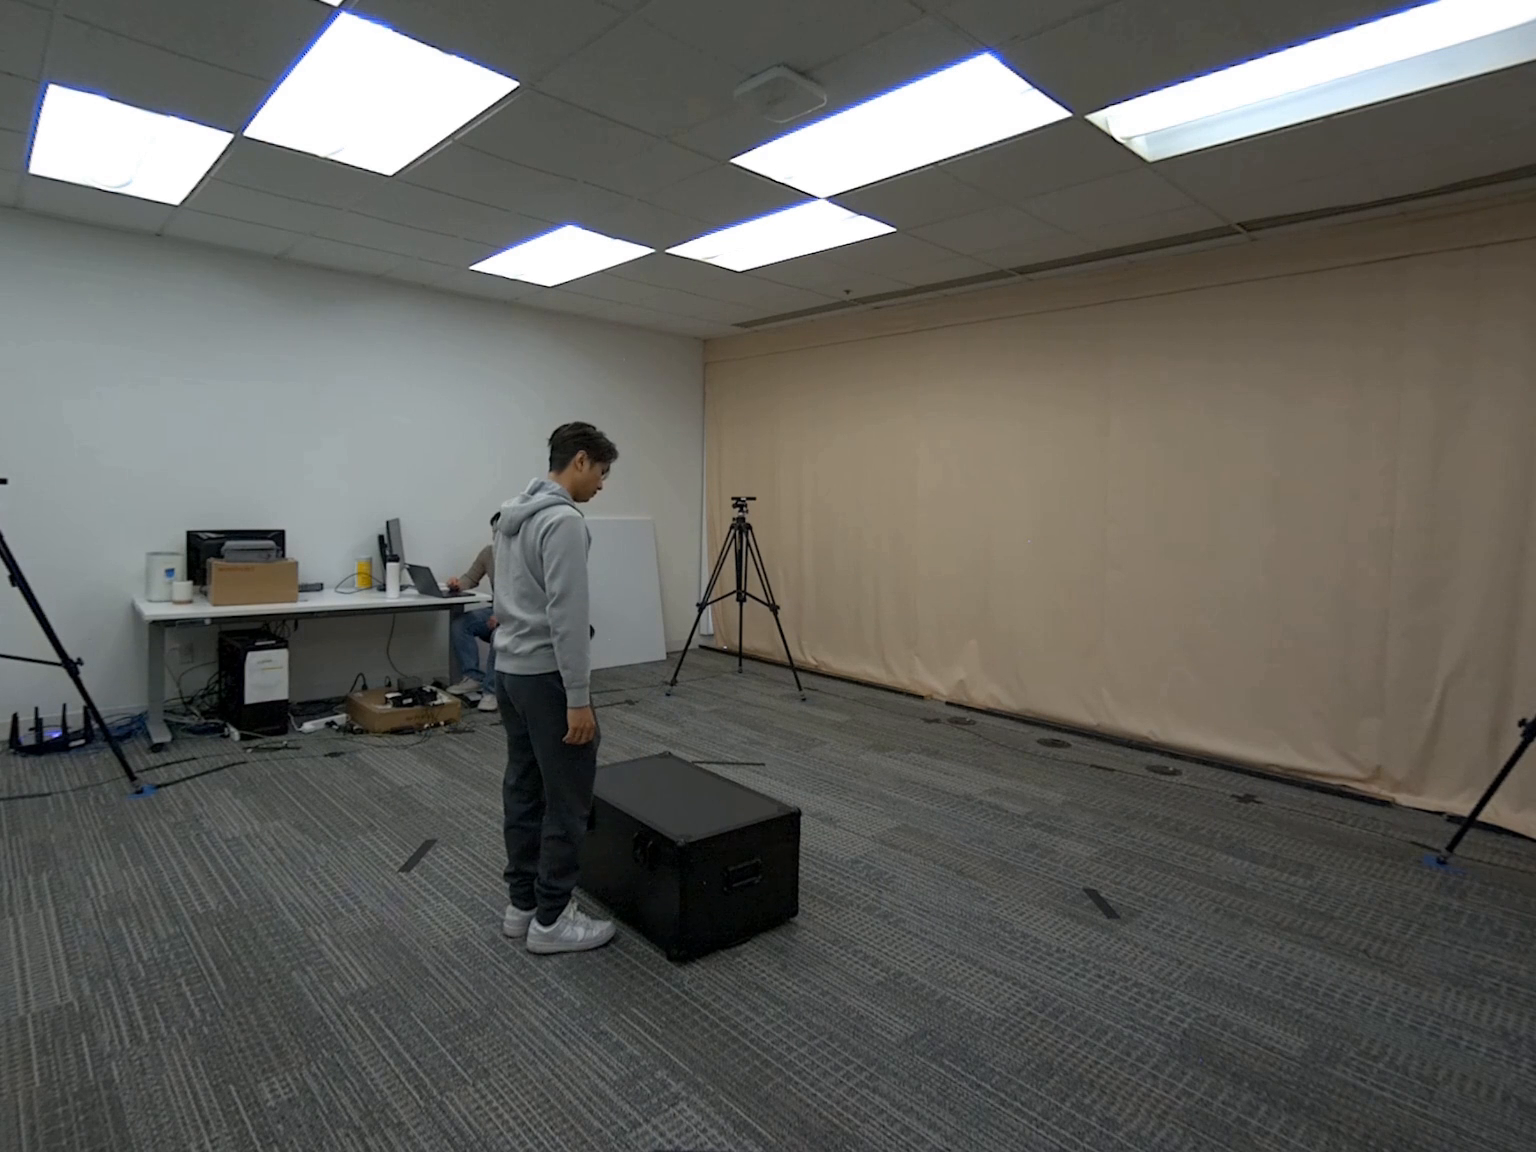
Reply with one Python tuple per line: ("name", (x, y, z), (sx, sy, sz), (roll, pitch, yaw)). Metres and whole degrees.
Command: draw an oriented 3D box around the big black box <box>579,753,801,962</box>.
("big black box", (-0.352, 0.927, 2.942), (0.509, 0.395, 0.884), (-2, 7, -40))
